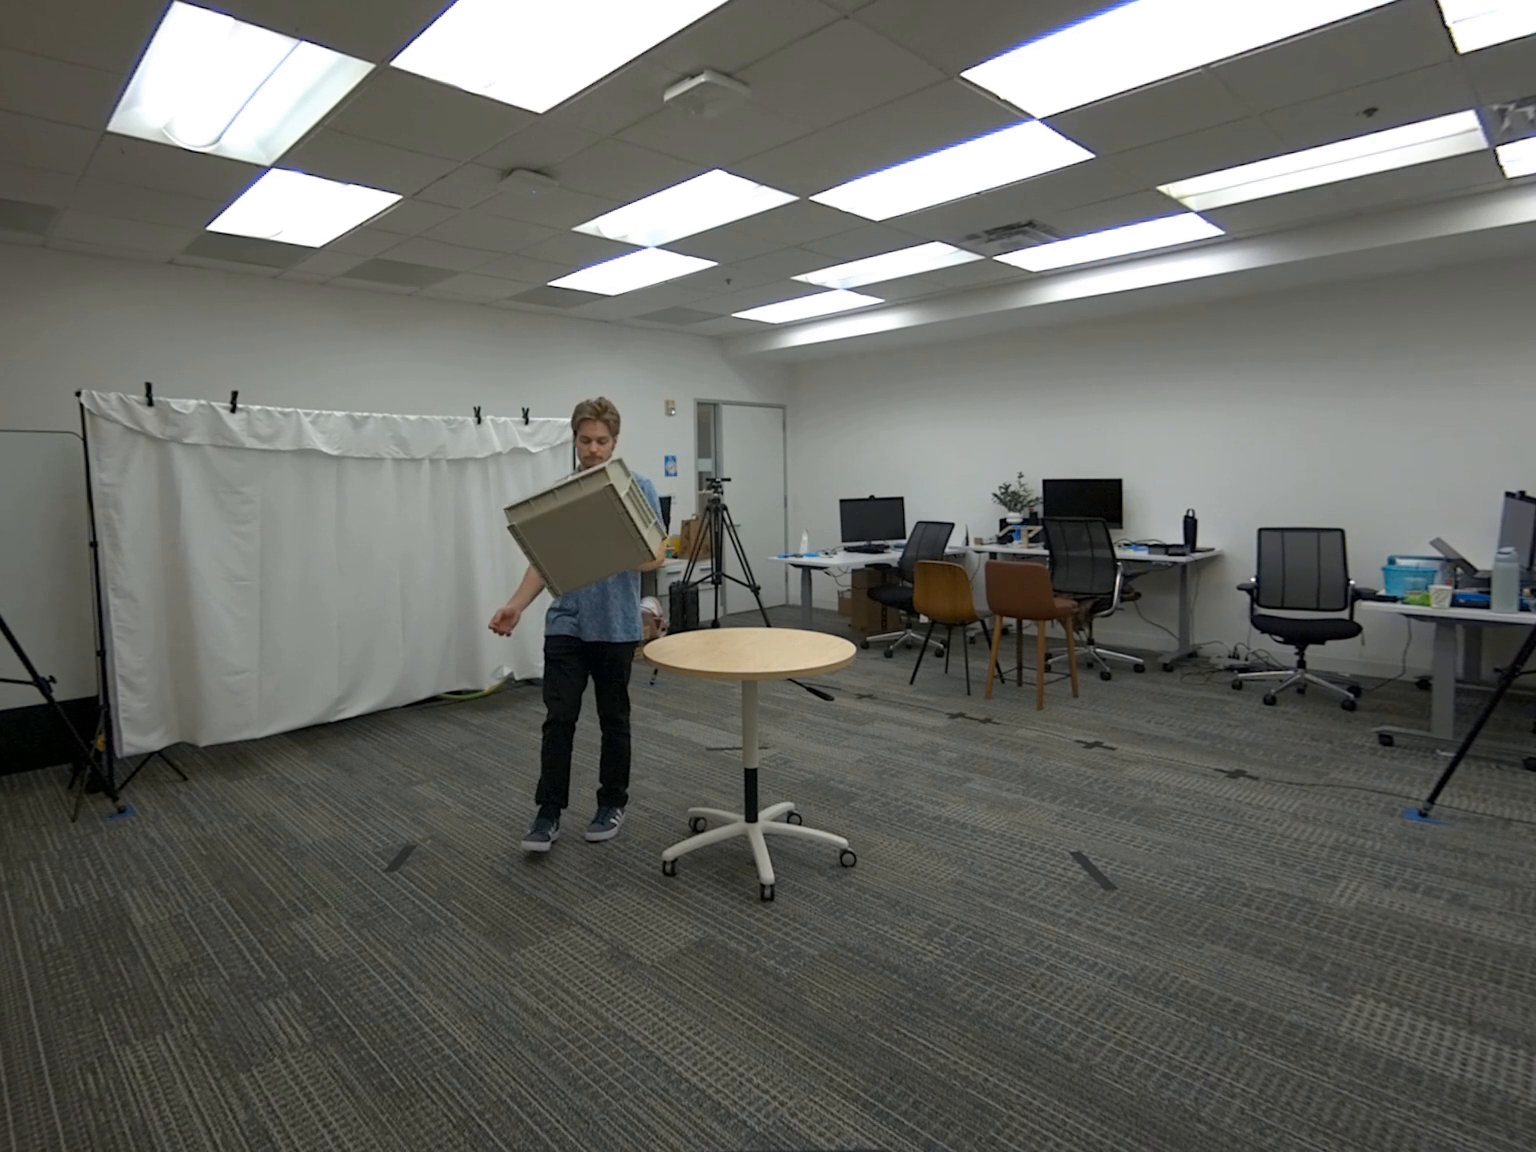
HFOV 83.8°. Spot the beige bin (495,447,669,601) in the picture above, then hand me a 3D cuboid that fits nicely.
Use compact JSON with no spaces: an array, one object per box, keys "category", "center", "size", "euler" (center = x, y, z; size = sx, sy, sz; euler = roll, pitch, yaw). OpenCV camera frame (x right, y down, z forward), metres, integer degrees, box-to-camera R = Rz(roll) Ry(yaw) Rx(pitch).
[{"category":"beige bin","center":[-0.627,-0.172,2.923],"size":[0.426,0.367,0.192],"euler":[-22,24,16]}]
